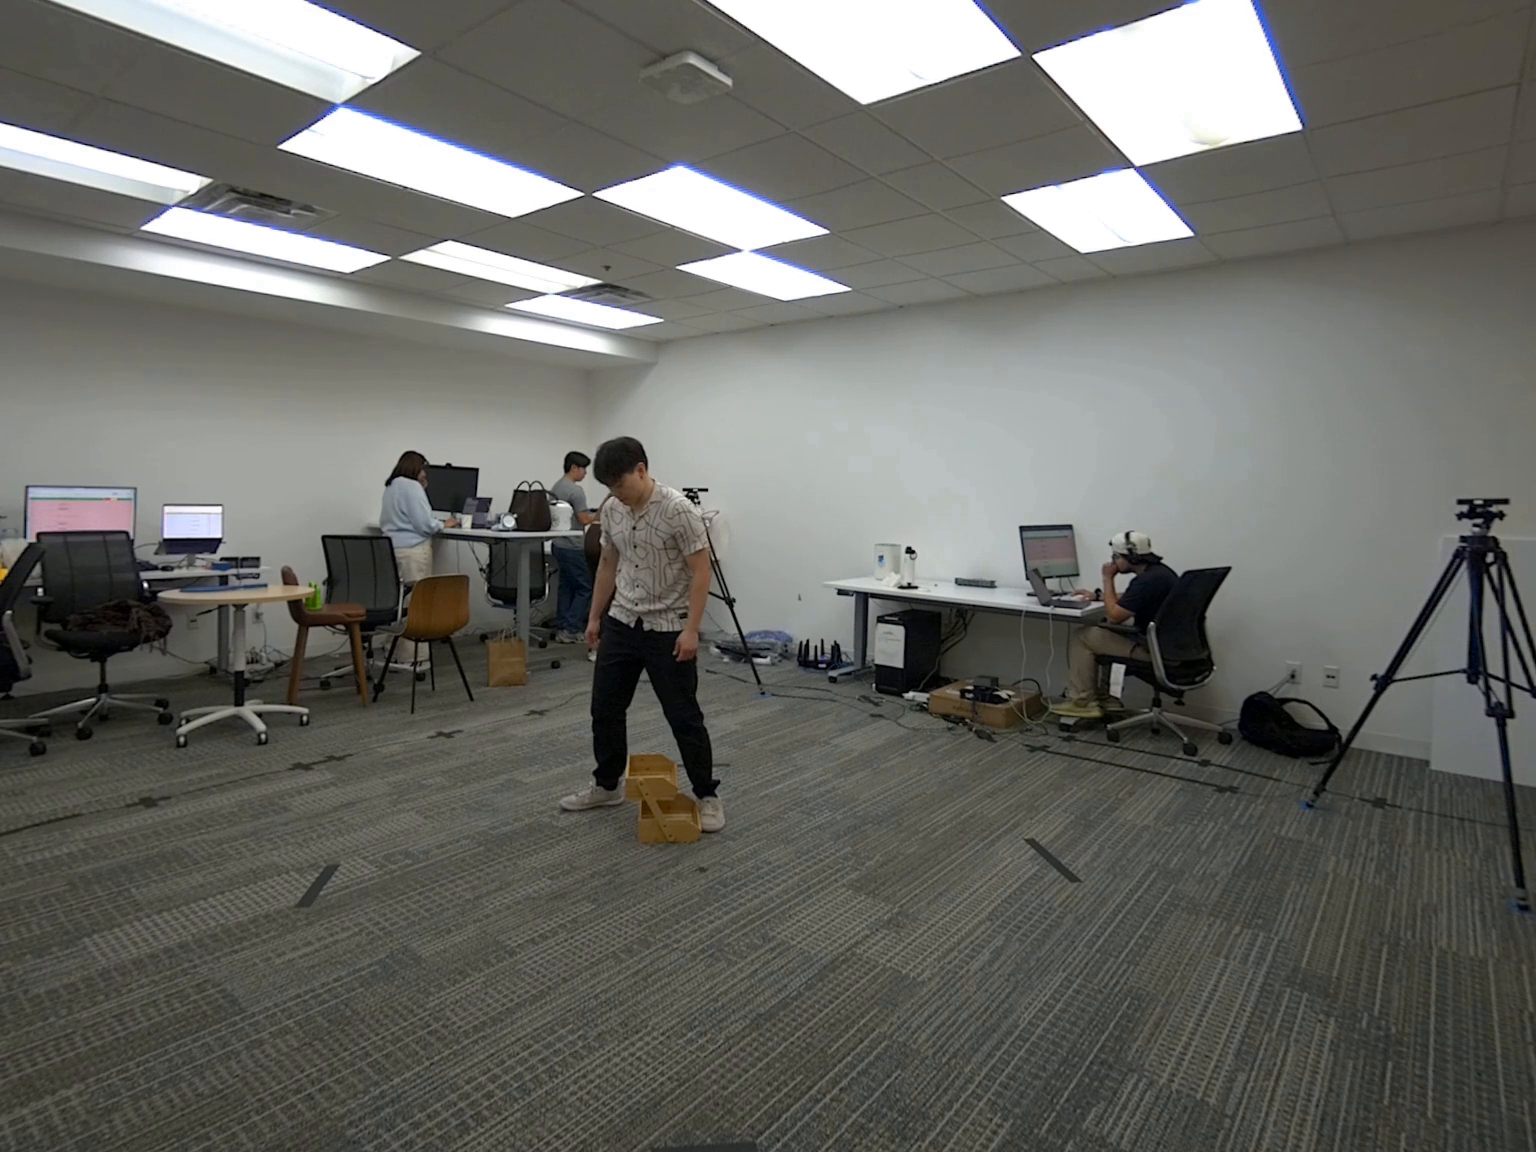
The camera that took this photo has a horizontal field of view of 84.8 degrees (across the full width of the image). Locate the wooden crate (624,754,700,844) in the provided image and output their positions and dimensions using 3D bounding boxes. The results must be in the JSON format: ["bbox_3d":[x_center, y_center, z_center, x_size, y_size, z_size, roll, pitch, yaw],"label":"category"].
[{"bbox_3d":[-0.440,0.897,3.486,0.300,0.272,0.328,0,4,-7],"label":"wooden crate"}]
